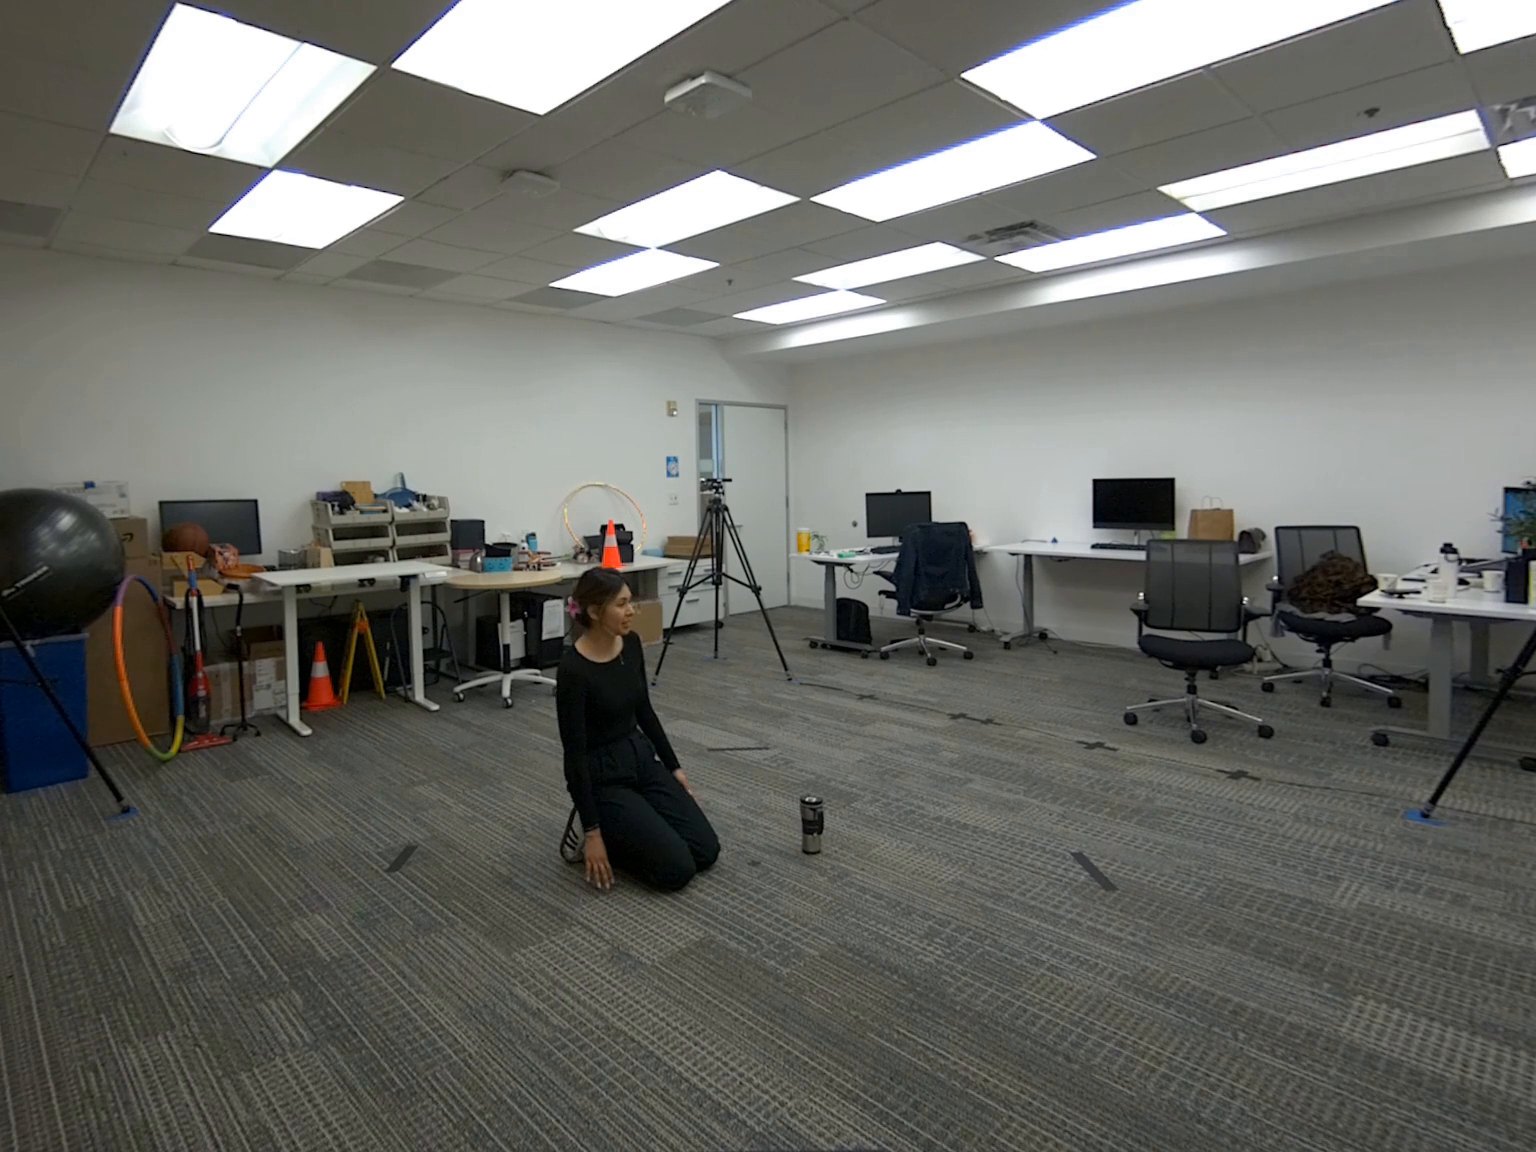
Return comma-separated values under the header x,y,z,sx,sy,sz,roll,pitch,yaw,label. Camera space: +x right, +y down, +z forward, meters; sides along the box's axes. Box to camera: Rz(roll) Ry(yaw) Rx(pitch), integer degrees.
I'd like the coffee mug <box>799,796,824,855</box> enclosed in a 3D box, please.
x,y,z,sx,sy,sz,roll,pitch,yaw,label
0.153,0.925,3.172,0.089,0.203,0.120,2,1,19,coffee mug
